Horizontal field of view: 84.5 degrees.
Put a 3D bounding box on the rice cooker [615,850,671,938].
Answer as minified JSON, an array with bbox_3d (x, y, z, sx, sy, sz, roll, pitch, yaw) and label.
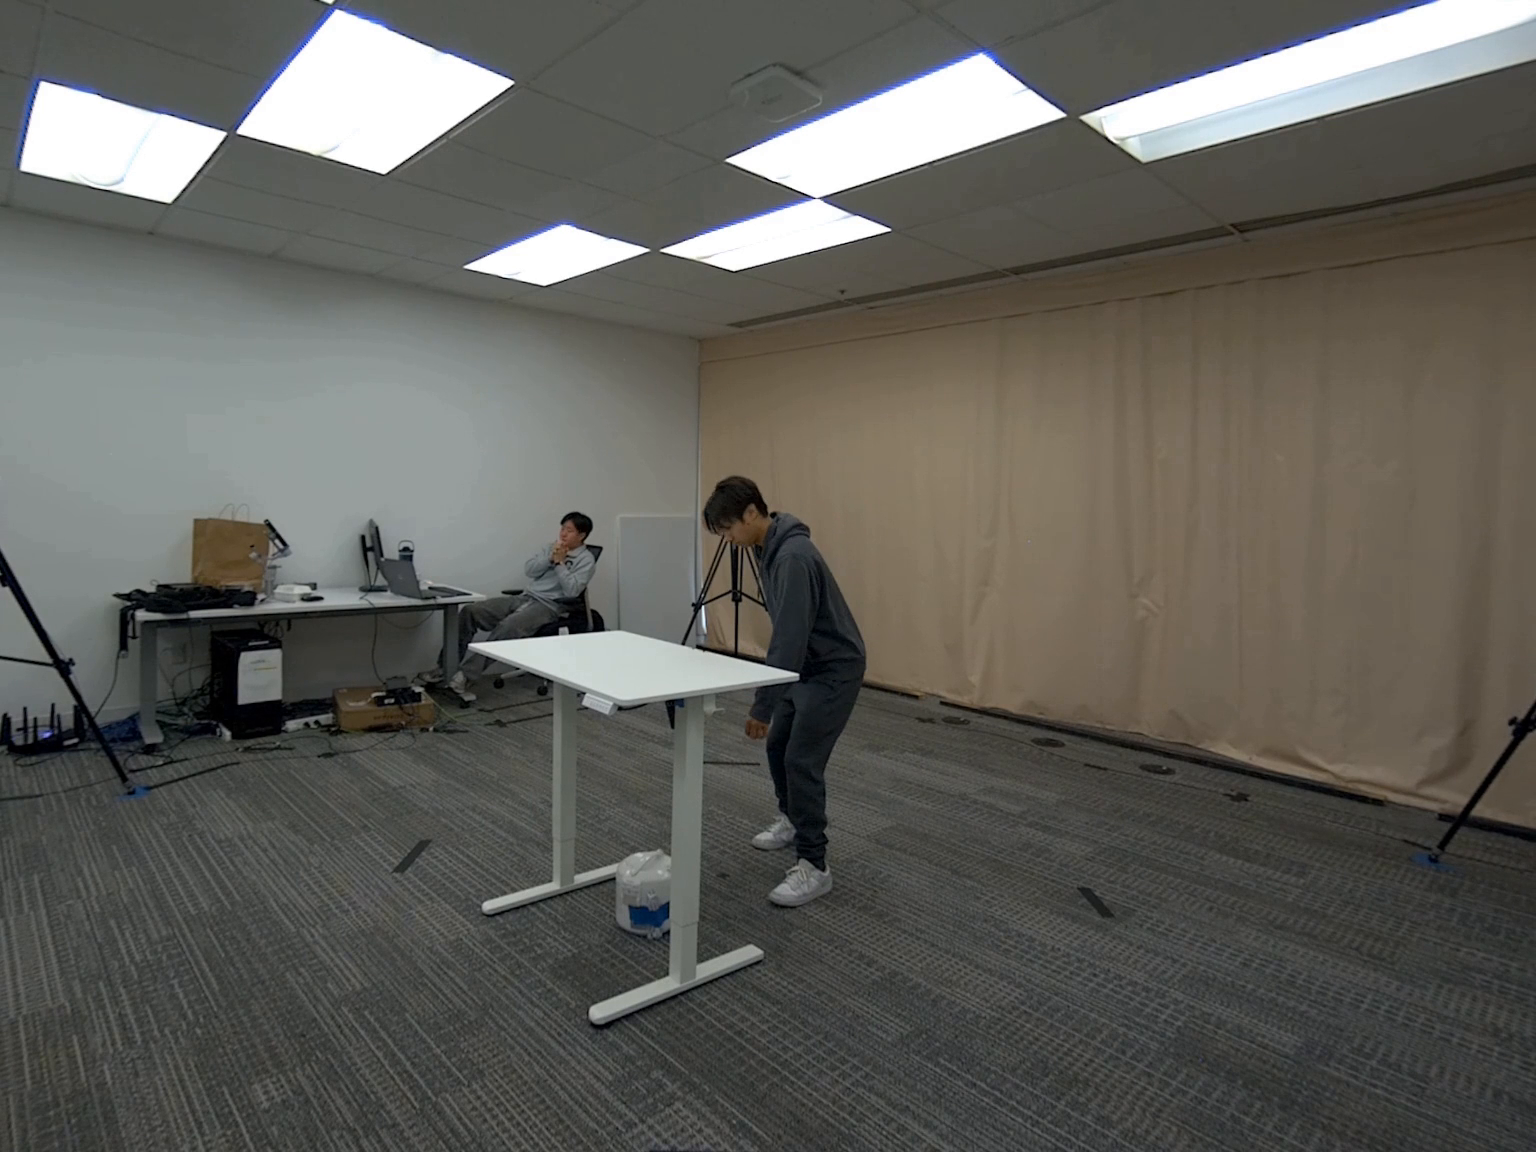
[{"bbox_3d":[-0.397,1.018,2.733,0.222,0.232,0.216,4,5,28],"label":"rice cooker"}]
